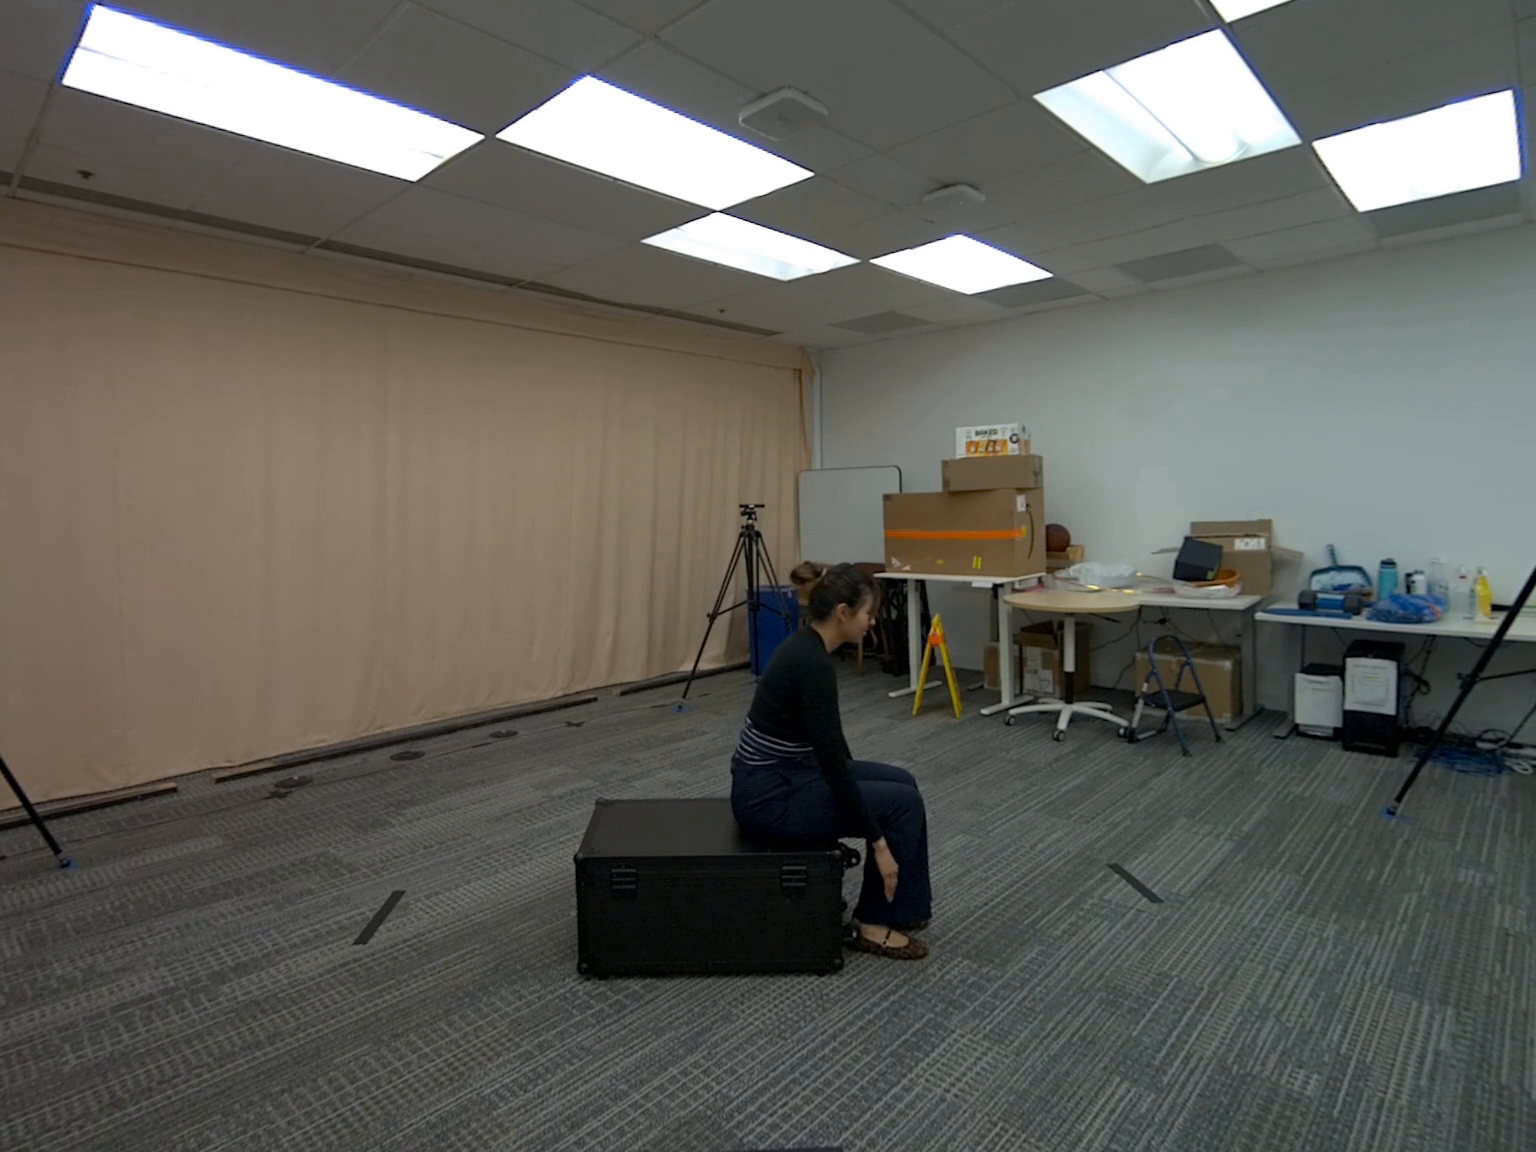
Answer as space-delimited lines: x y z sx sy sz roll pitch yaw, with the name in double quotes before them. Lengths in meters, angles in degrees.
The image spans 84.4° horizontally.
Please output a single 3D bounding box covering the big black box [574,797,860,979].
"big black box" -0.157 0.979 2.697 0.861 0.395 0.523 -1 4 -1
